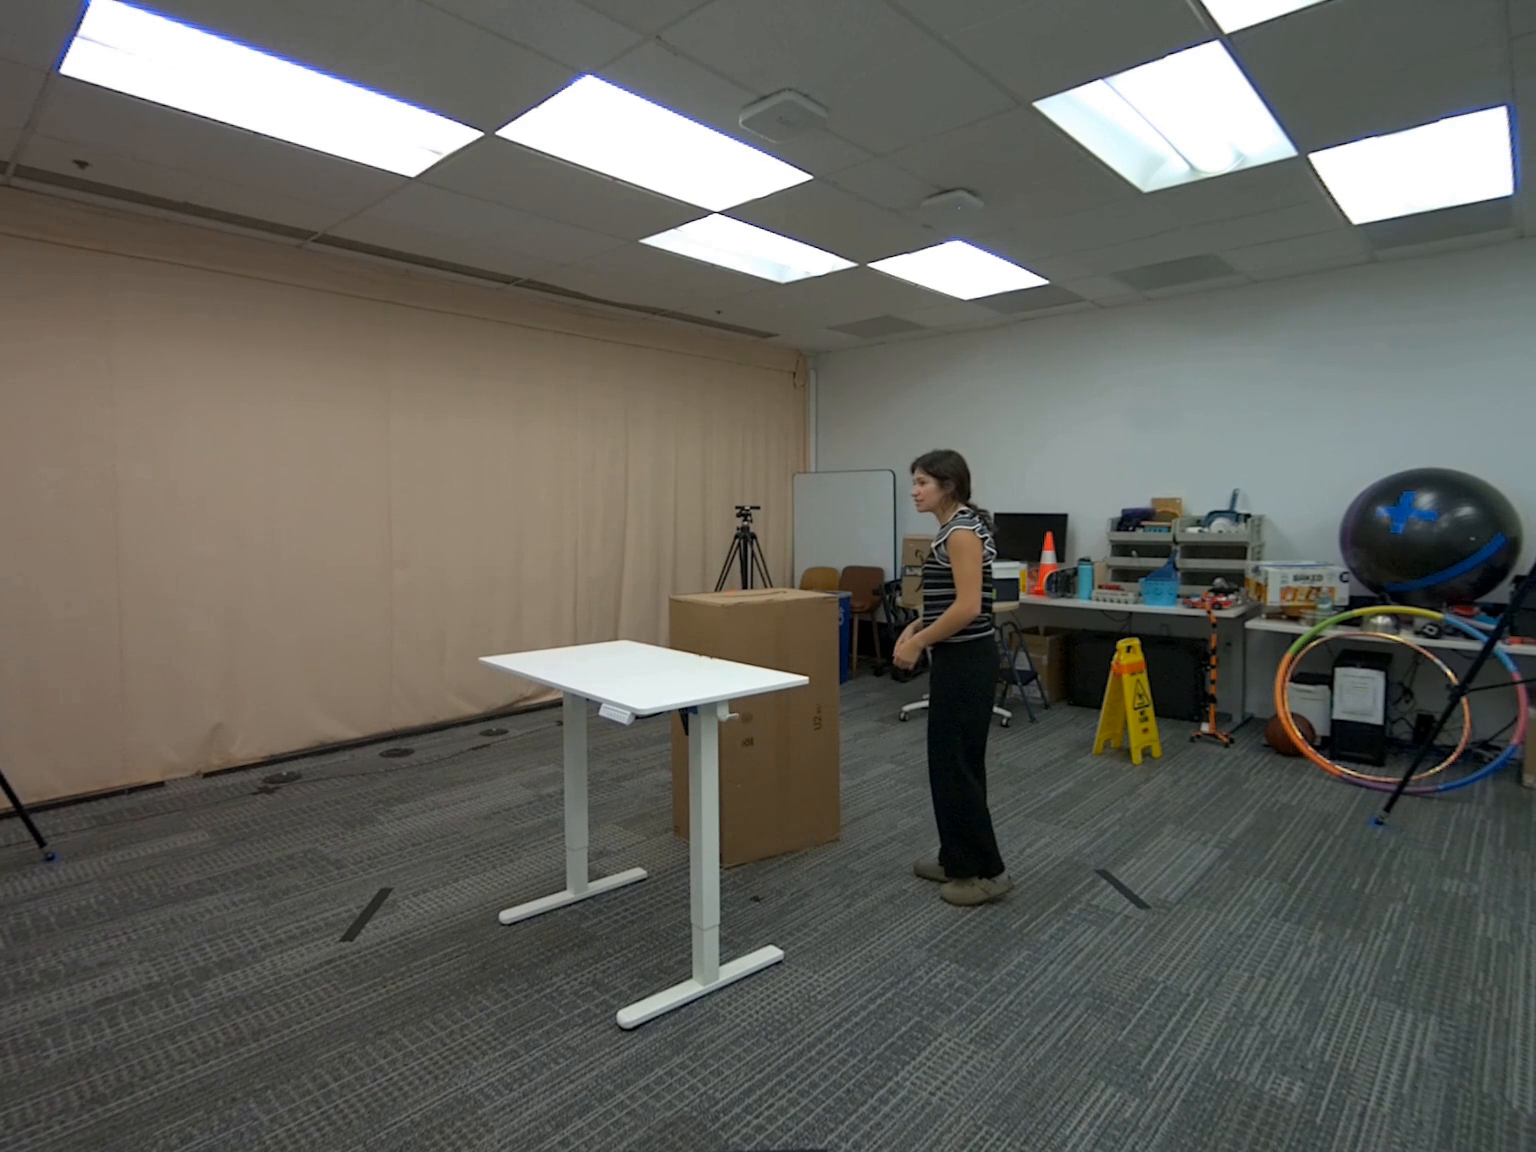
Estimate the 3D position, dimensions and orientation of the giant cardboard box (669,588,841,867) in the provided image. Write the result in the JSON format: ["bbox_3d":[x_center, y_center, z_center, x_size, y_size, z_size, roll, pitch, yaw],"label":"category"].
[{"bbox_3d":[-0.059,0.588,3.529,0.562,1.024,0.439,-3,3,-32],"label":"giant cardboard box"}]
